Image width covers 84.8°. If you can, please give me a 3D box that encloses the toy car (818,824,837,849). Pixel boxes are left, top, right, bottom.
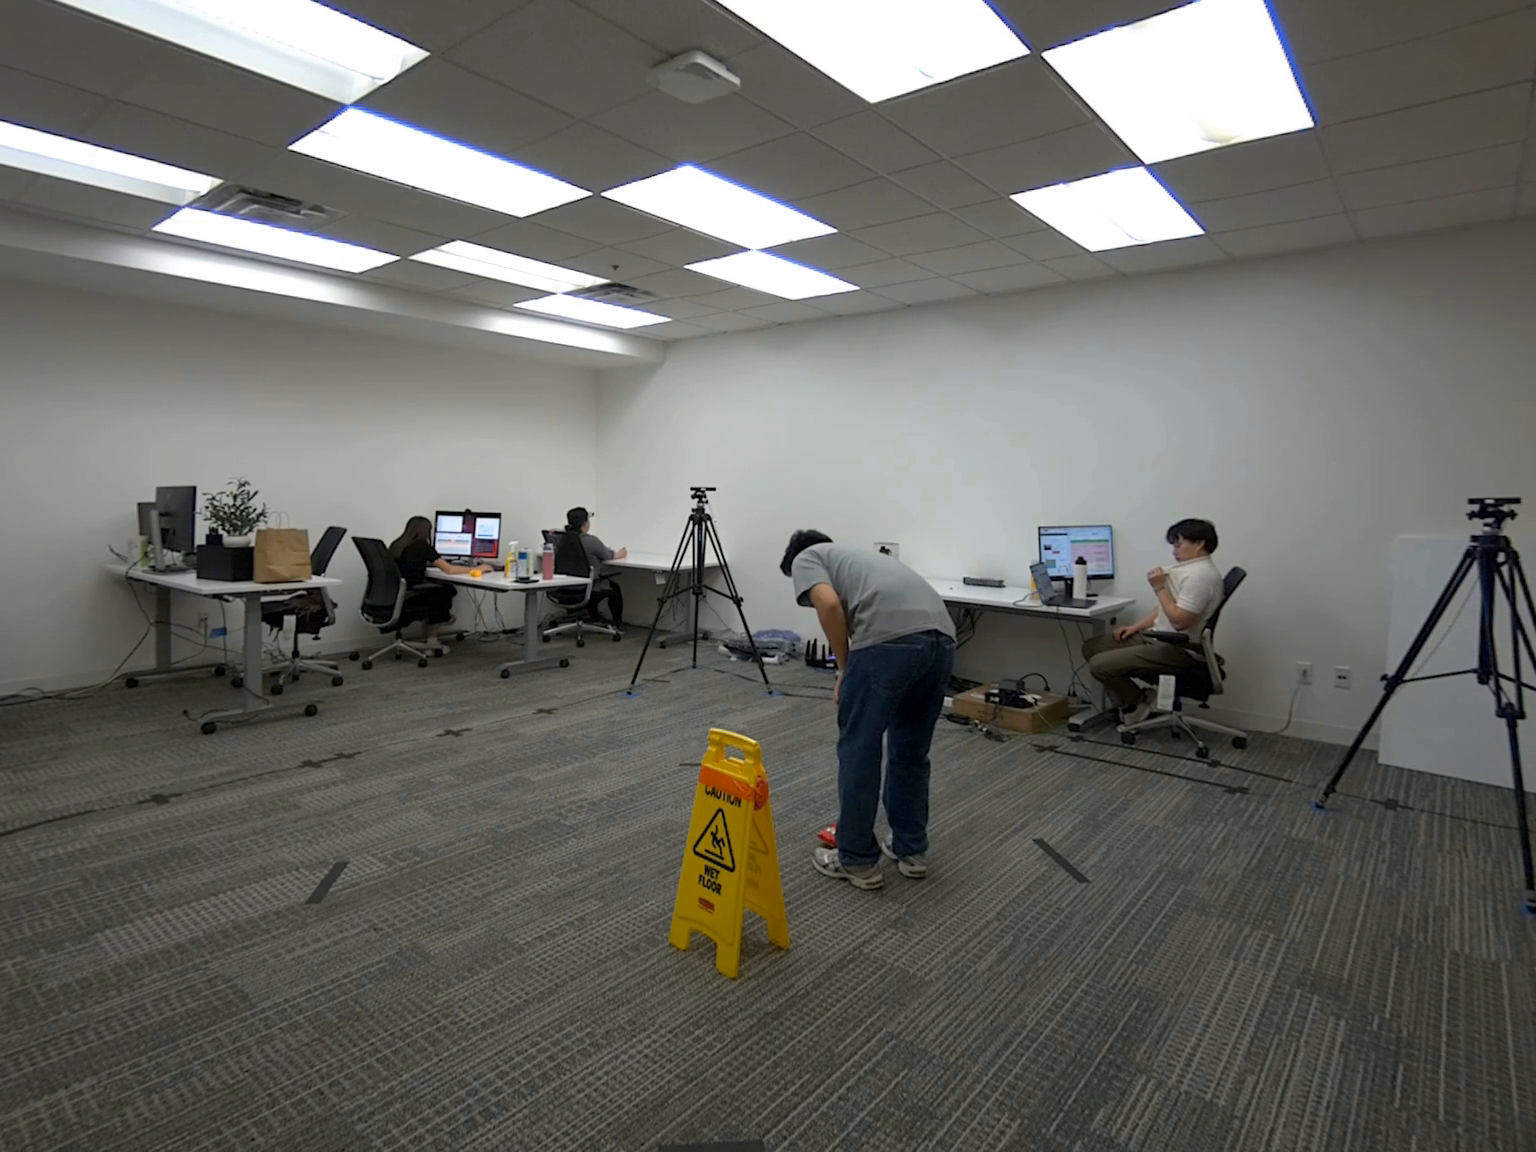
[{"bbox_3d":[0.299,1.016,3.361,0.245,0.083,0.135,12,-3,-41],"label":"toy car"}]
